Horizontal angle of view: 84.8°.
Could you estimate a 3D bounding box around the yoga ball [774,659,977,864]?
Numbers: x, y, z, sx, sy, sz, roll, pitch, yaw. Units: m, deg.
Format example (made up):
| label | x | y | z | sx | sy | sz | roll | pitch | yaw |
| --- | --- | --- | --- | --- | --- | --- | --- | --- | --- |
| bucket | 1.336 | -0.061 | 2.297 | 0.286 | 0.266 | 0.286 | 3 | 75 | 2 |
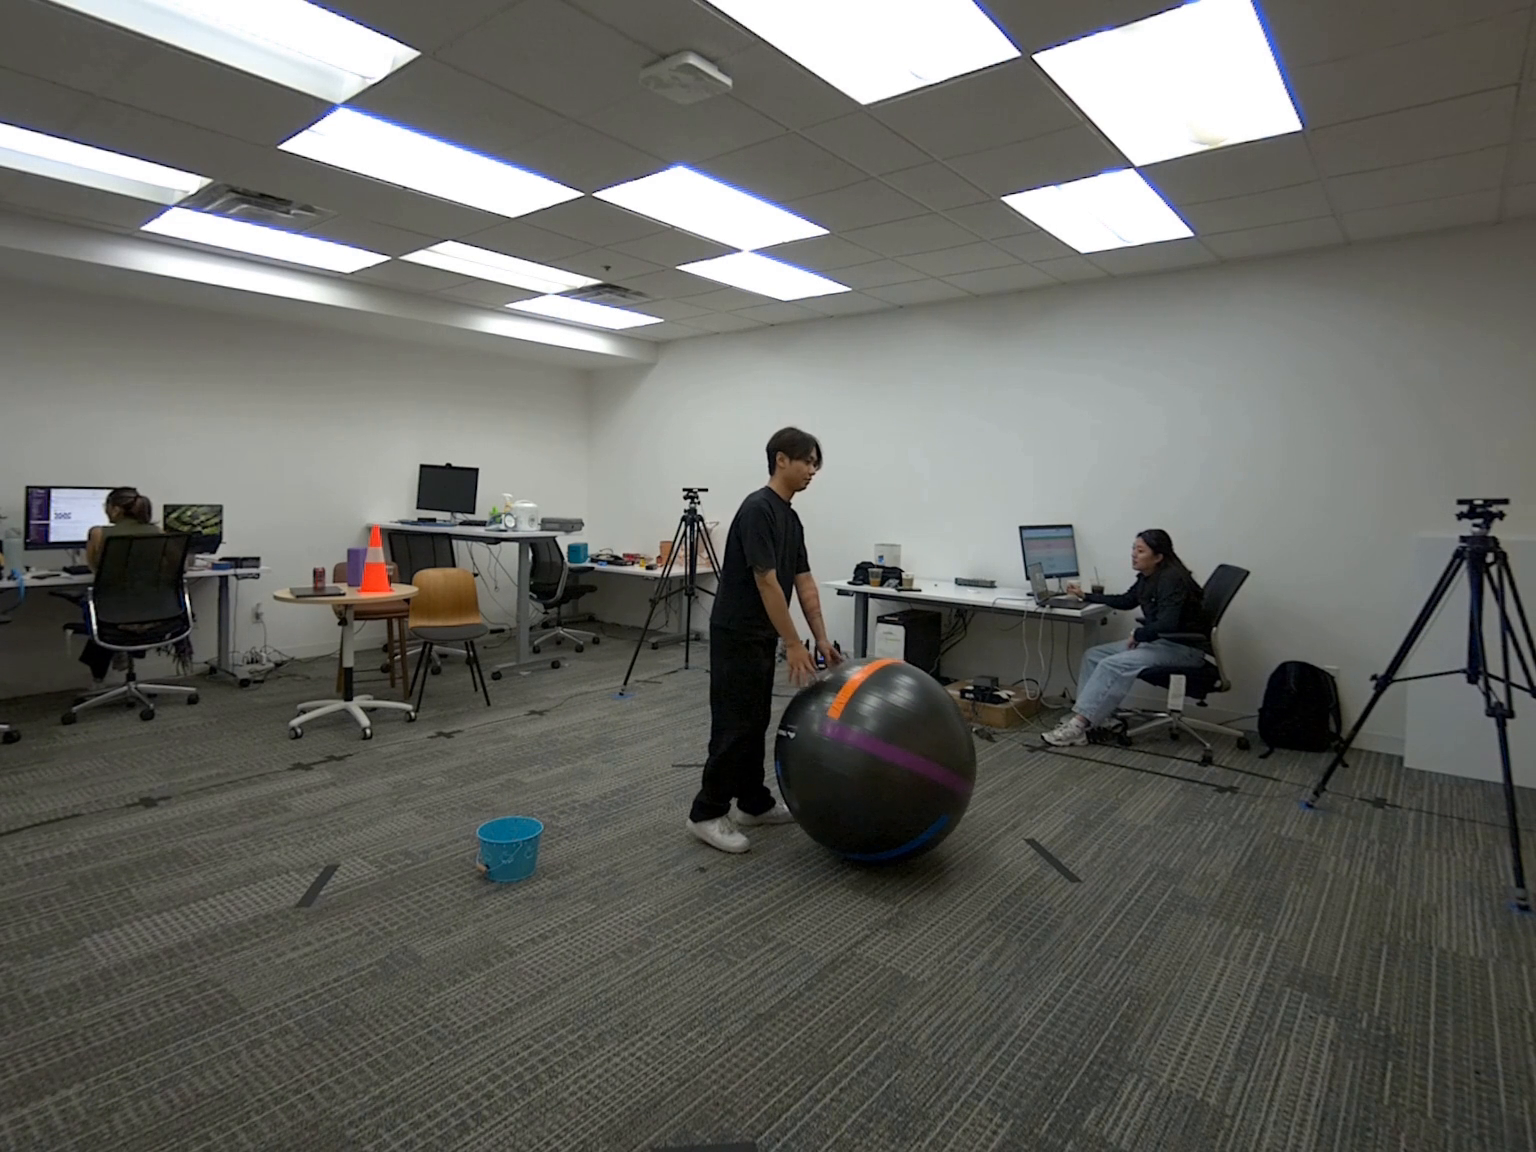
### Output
| label | x | y | z | sx | sy | sz | roll | pitch | yaw |
| --- | --- | --- | --- | --- | --- | --- | --- | --- | --- |
| yoga ball | 0.393 | 0.699 | 3.259 | 0.757 | 0.755 | 0.762 | 1 | 4 | -2 |
